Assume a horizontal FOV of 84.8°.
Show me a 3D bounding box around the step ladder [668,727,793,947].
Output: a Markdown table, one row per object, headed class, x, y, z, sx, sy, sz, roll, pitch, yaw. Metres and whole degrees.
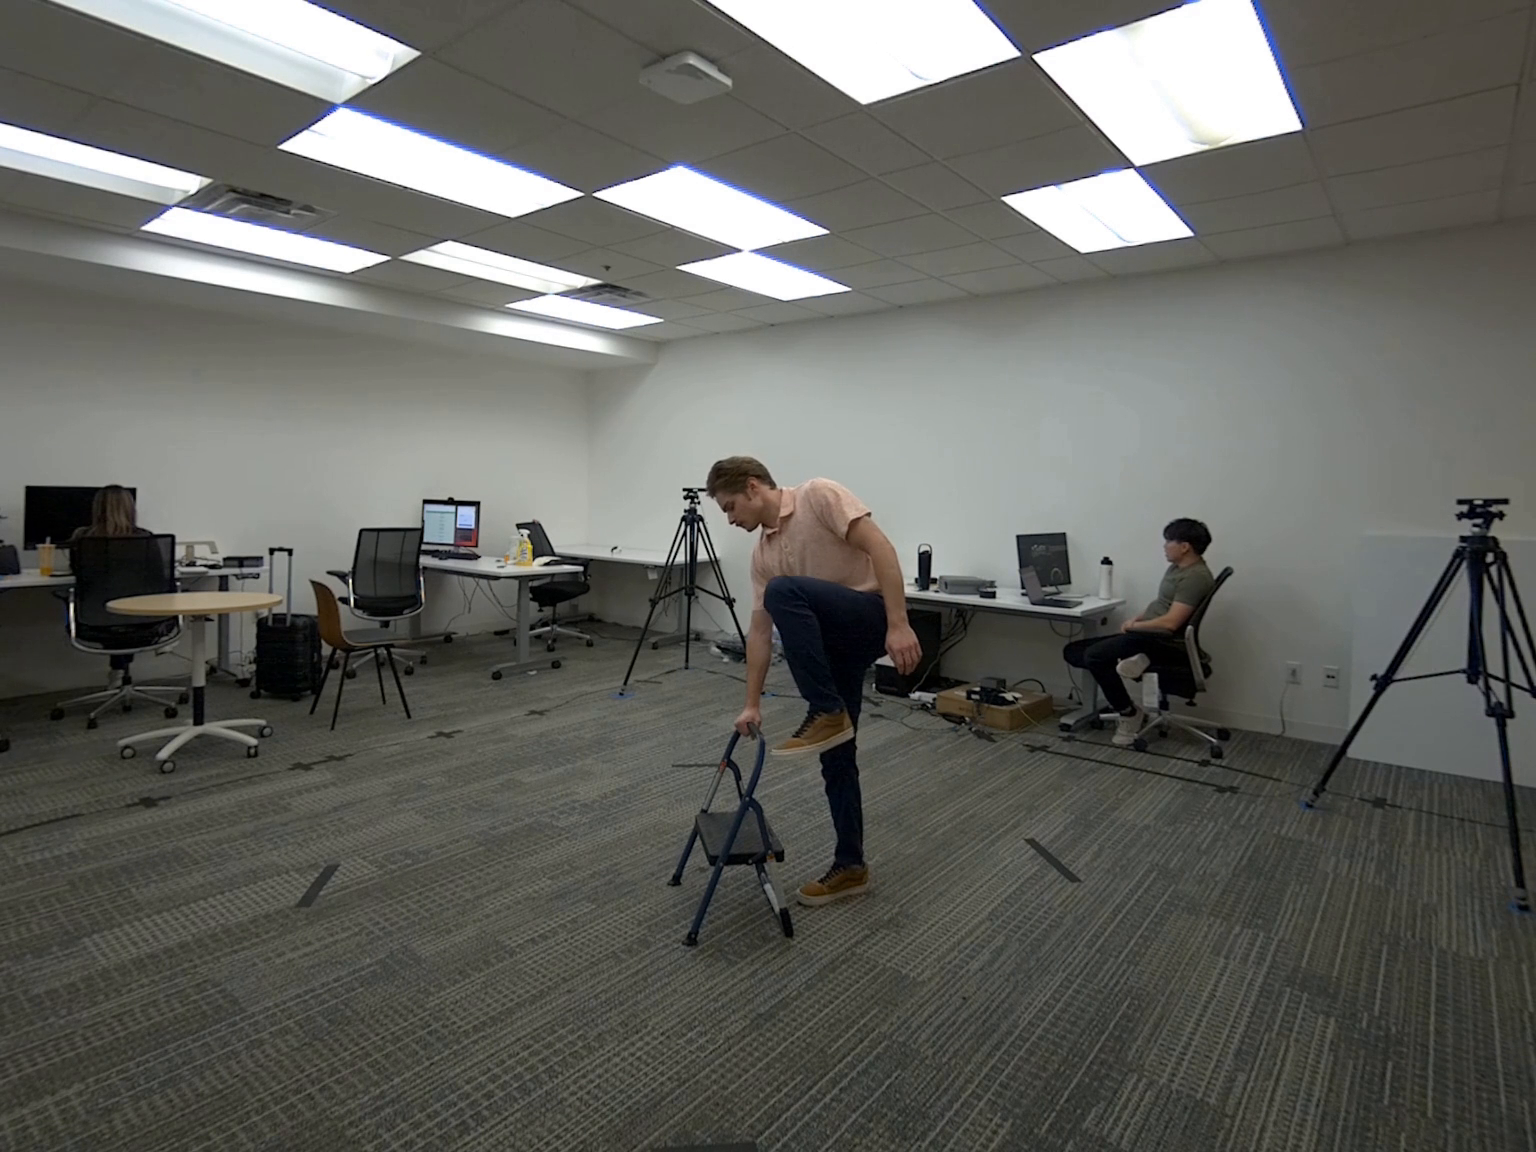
| class | x | y | z | sx | sy | sz | roll | pitch | yaw |
| --- | --- | --- | --- | --- | --- | --- | --- | --- | --- |
| step ladder | -0.126 | 0.801 | 2.802 | 0.345 | 0.604 | 0.437 | 0 | 4 | -13 |
